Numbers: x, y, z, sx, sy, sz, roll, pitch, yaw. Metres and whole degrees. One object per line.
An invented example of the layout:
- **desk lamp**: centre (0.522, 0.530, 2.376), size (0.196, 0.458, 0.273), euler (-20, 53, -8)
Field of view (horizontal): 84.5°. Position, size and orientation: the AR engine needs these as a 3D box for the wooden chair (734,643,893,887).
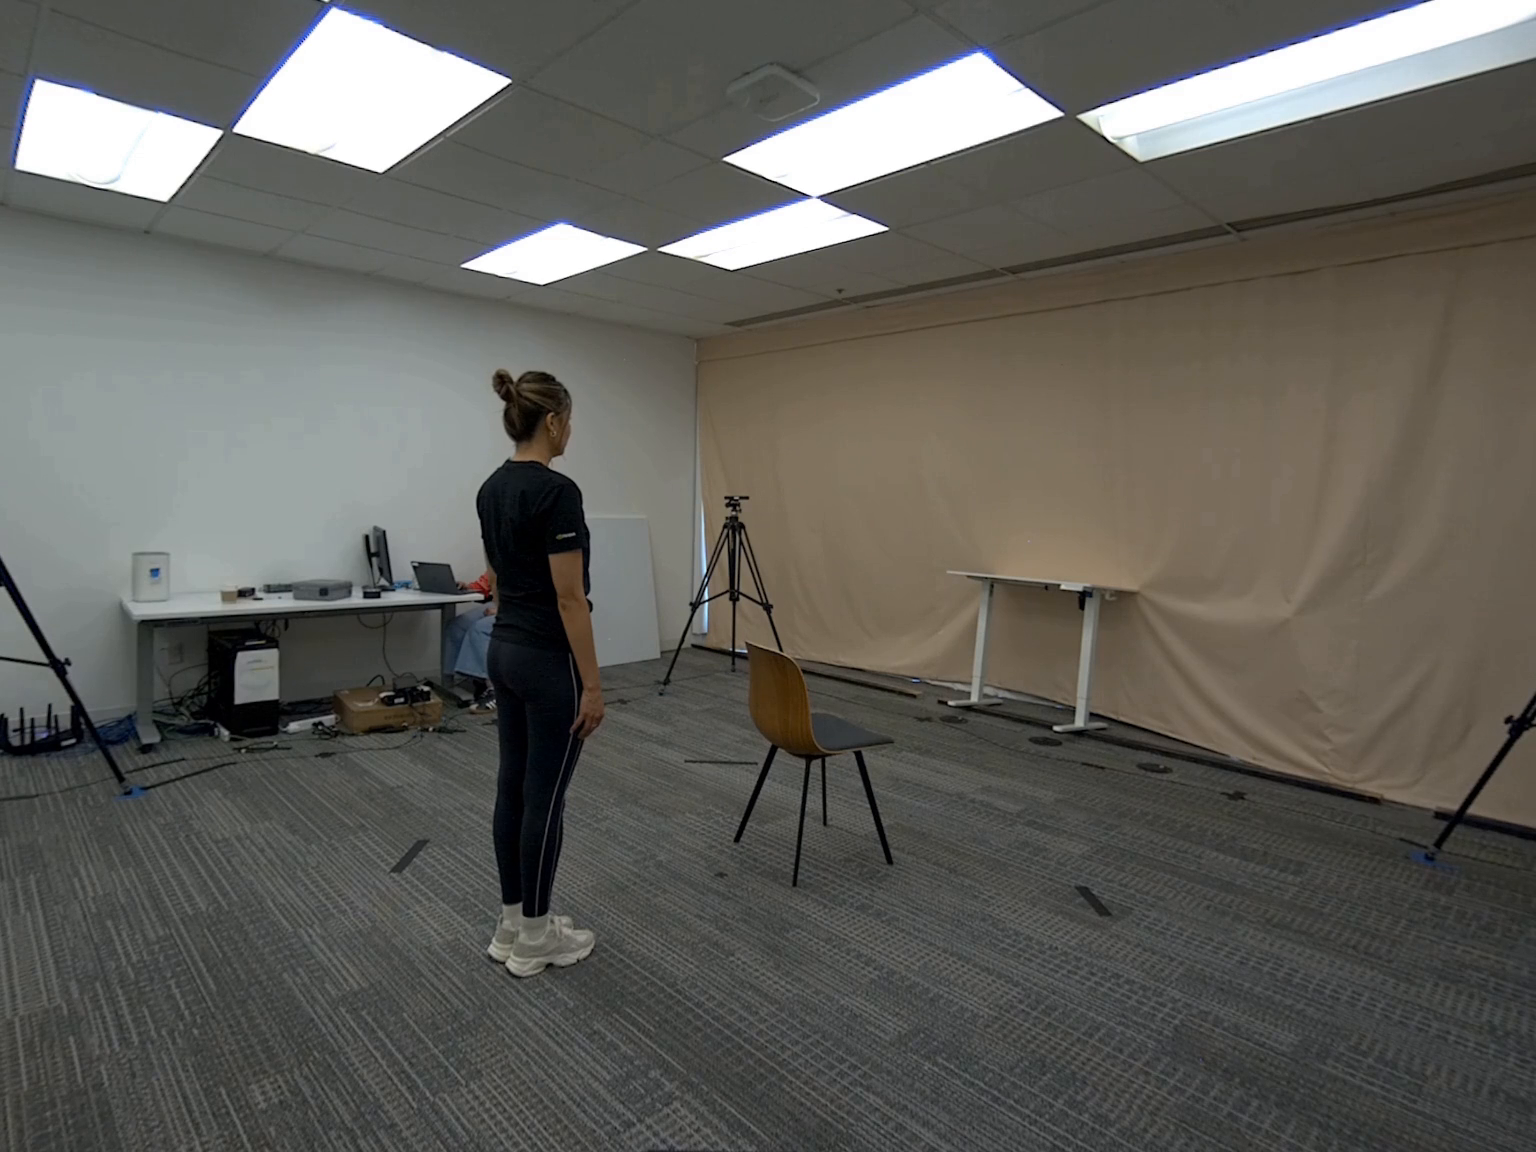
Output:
- **wooden chair**: centre (0.184, 0.667, 3.296), size (0.513, 0.874, 0.489), euler (-5, 6, -30)
